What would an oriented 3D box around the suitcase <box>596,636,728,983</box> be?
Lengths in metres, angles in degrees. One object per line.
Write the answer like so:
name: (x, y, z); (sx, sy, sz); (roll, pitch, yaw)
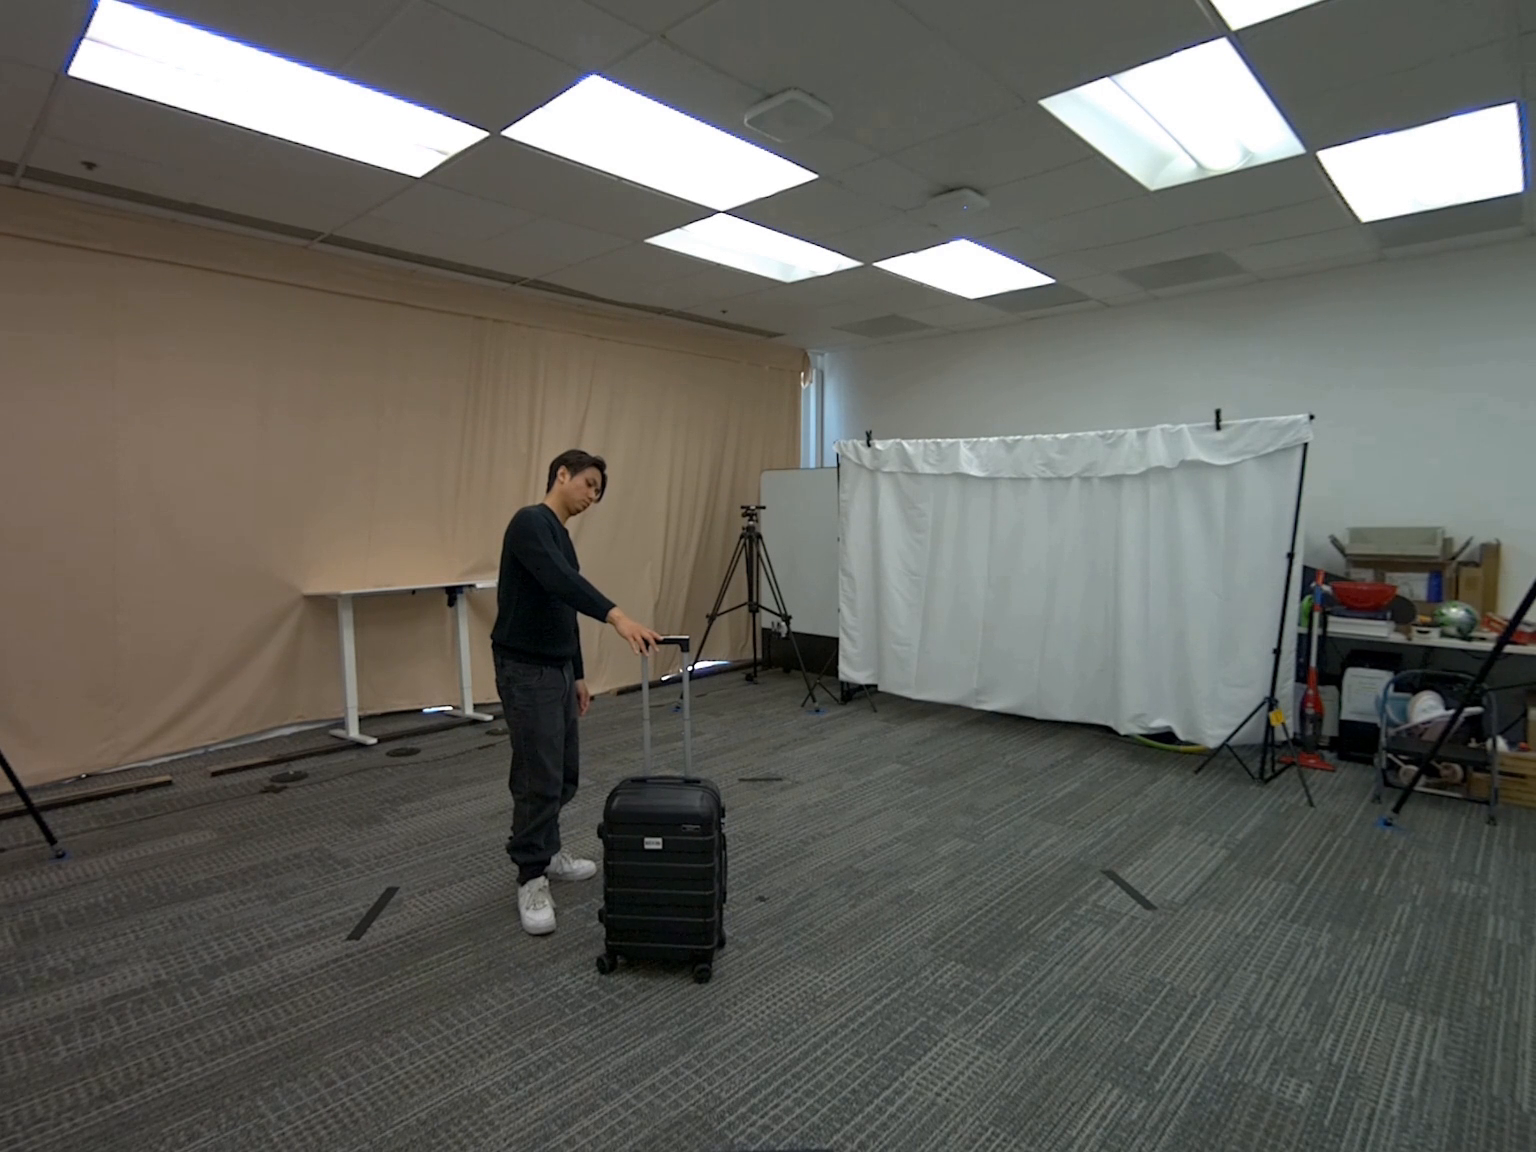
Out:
suitcase: (-0.319, 0.703, 2.565); (0.386, 0.976, 0.256); (0, 4, 4)
